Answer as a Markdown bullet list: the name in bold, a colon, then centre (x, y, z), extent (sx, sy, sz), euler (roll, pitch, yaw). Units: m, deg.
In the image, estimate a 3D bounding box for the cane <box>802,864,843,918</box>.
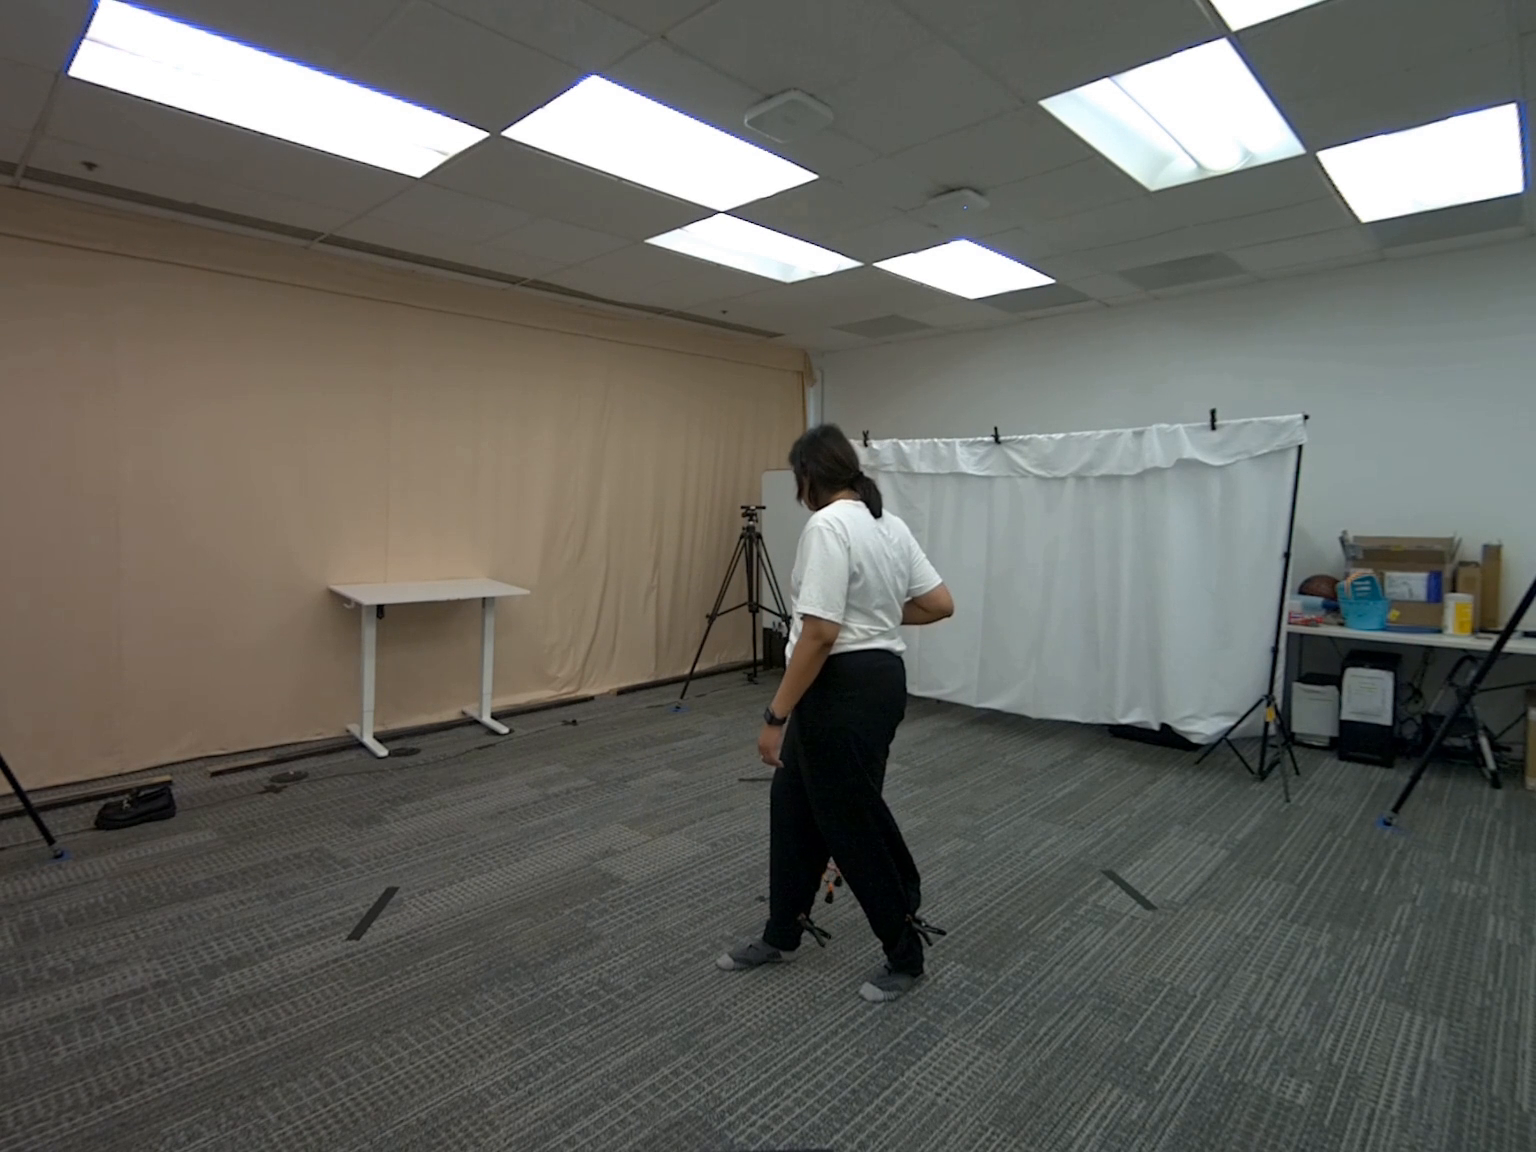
- **cane**: centre (0.219, 0.600, 2.756), extent (0.210, 0.905, 0.149), euler (13, 8, 16)
